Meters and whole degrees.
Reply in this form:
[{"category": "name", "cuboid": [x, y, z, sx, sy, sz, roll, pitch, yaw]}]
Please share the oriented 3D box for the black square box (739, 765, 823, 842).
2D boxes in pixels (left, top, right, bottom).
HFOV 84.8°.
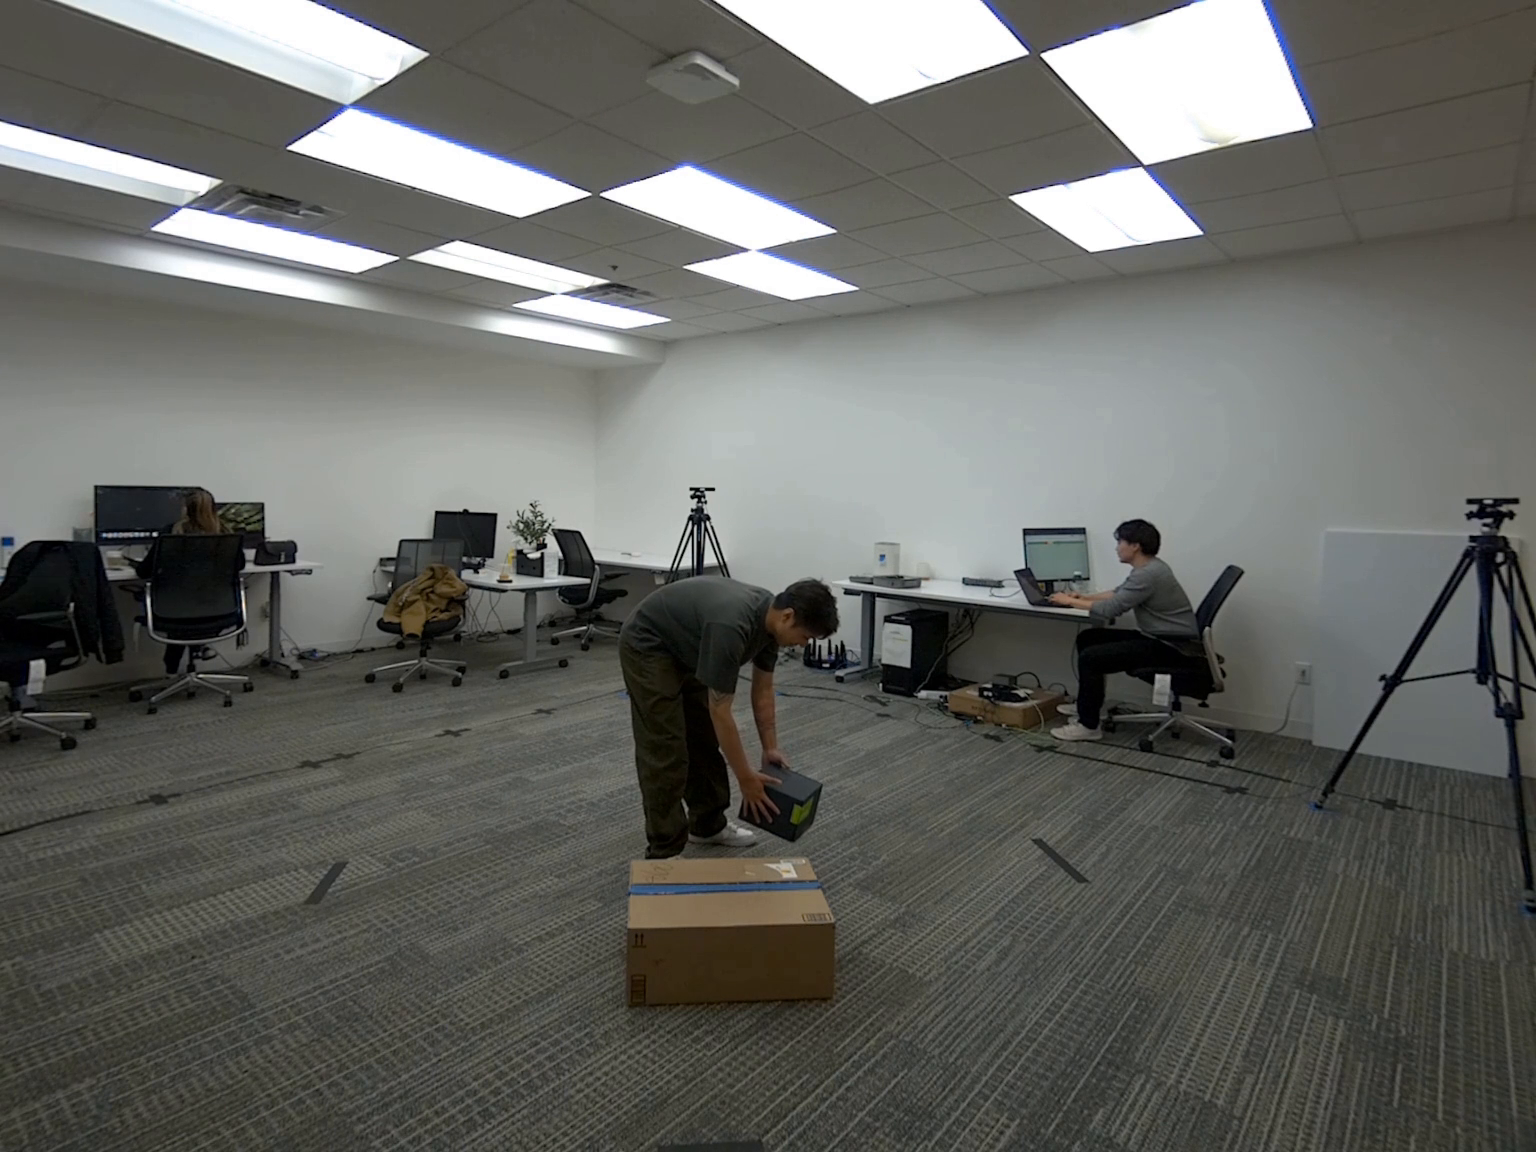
[{"category": "black square box", "cuboid": [0.040, 0.808, 3.038, 0.223, 0.155, 0.223, 16, 7, 20]}]
